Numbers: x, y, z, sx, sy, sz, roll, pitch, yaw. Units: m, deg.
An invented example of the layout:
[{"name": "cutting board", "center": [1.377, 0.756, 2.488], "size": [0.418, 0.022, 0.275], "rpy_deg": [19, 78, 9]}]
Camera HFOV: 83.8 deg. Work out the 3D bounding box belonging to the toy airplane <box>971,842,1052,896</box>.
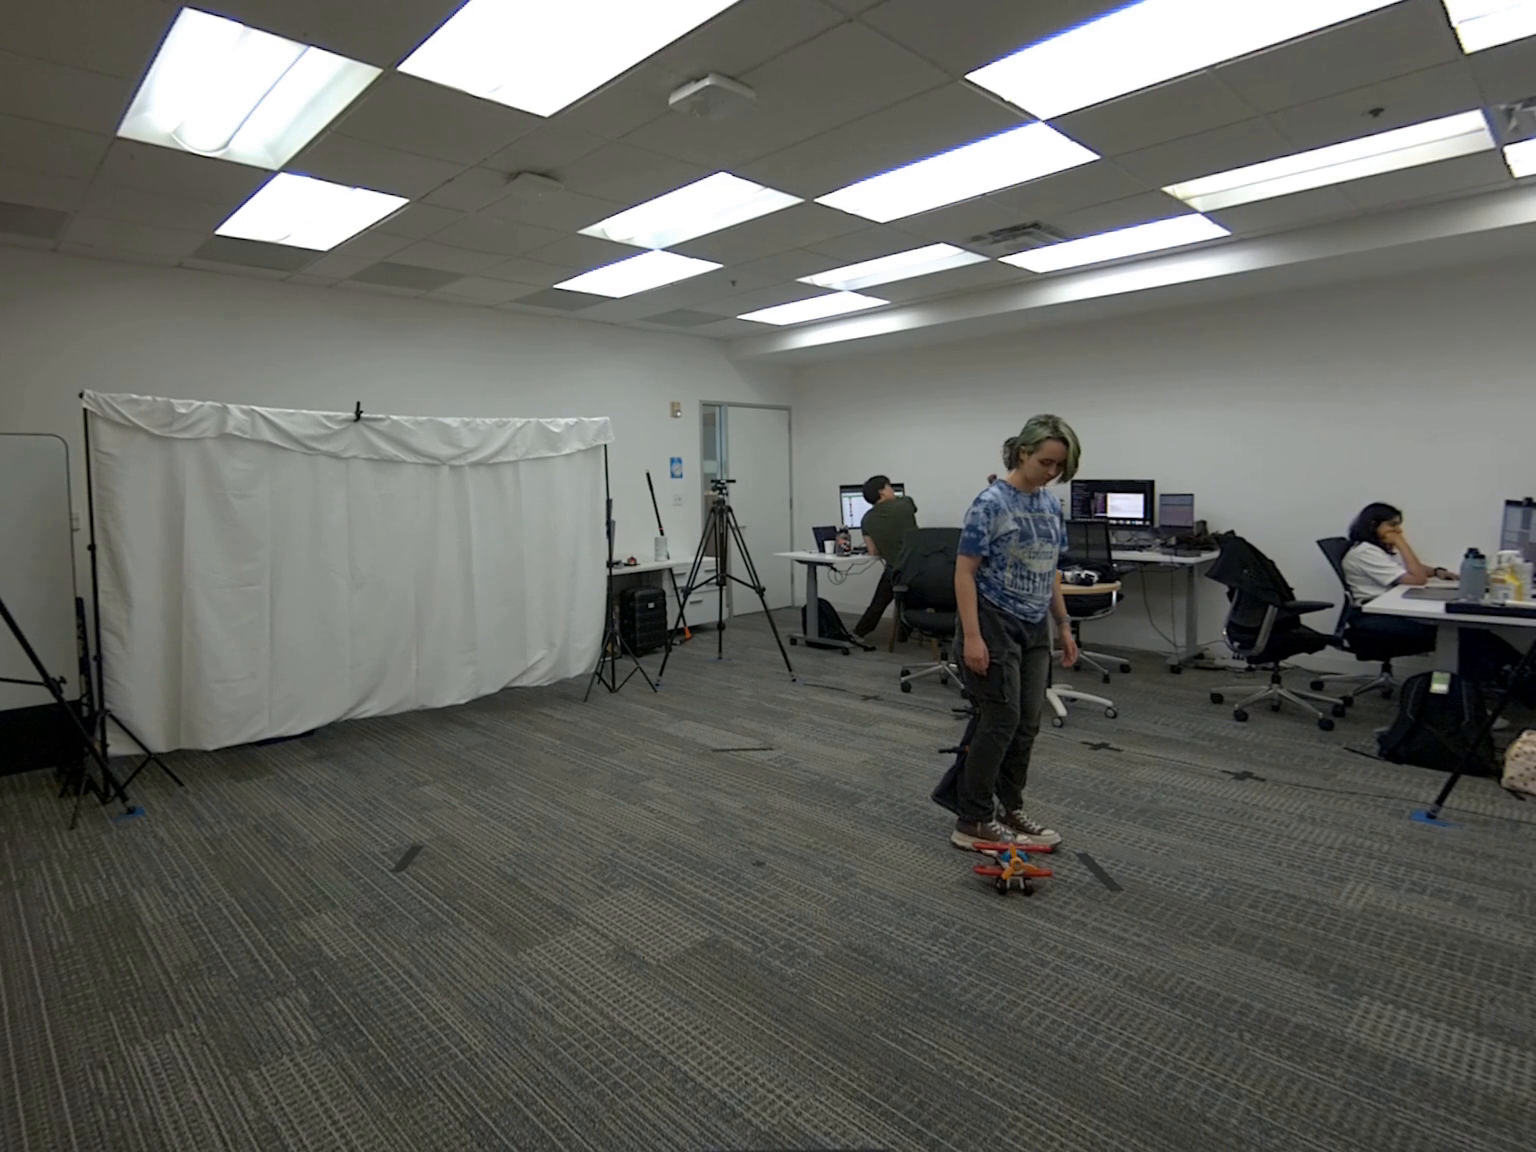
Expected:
[{"name": "toy airplane", "center": [0.816, 0.983, 2.936], "size": [0.247, 0.155, 0.265], "rpy_deg": [-5, 8, -21]}]
